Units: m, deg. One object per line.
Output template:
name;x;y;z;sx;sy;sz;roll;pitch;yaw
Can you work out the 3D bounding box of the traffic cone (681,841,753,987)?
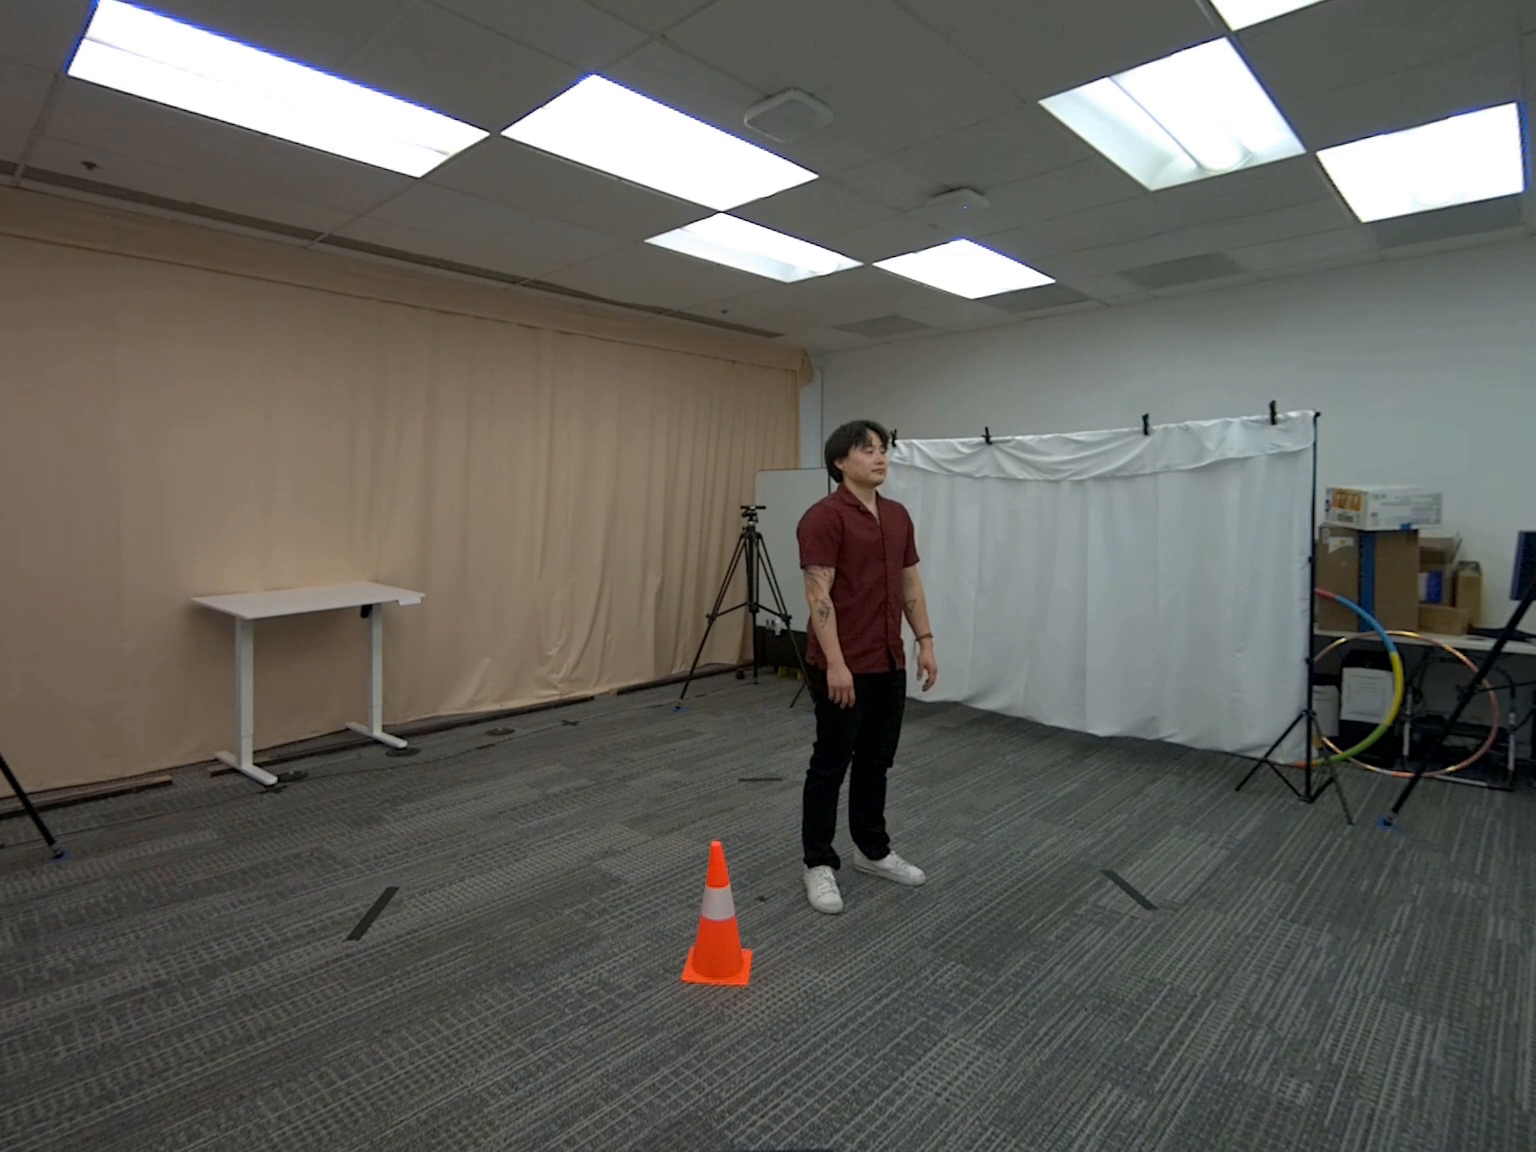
traffic cone;-0.148;0.999;2.530;0.205;0.383;0.204;0;4;7
